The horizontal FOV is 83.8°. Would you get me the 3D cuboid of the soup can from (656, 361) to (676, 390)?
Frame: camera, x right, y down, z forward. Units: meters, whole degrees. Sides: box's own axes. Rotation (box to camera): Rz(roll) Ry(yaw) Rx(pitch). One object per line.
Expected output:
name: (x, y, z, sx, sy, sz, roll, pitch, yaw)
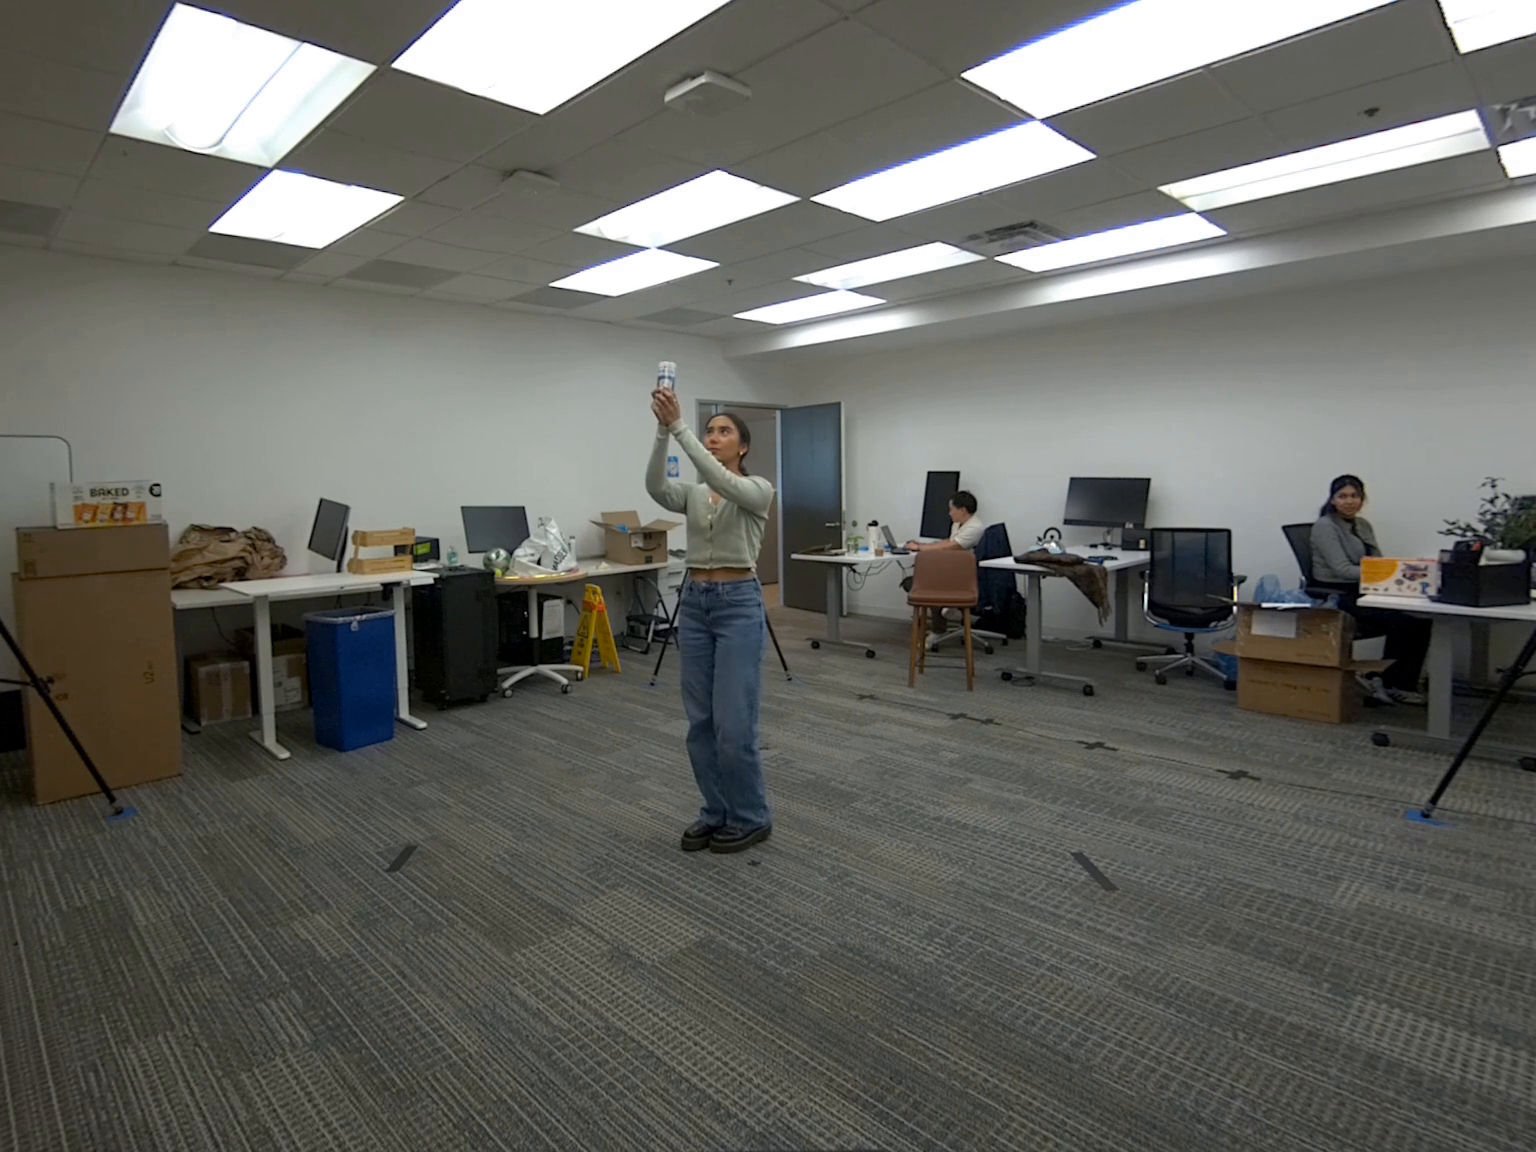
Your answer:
soup can: (-0.363, -0.694, 3.035, 0.067, 0.122, 0.067, 3, -5, -1)
